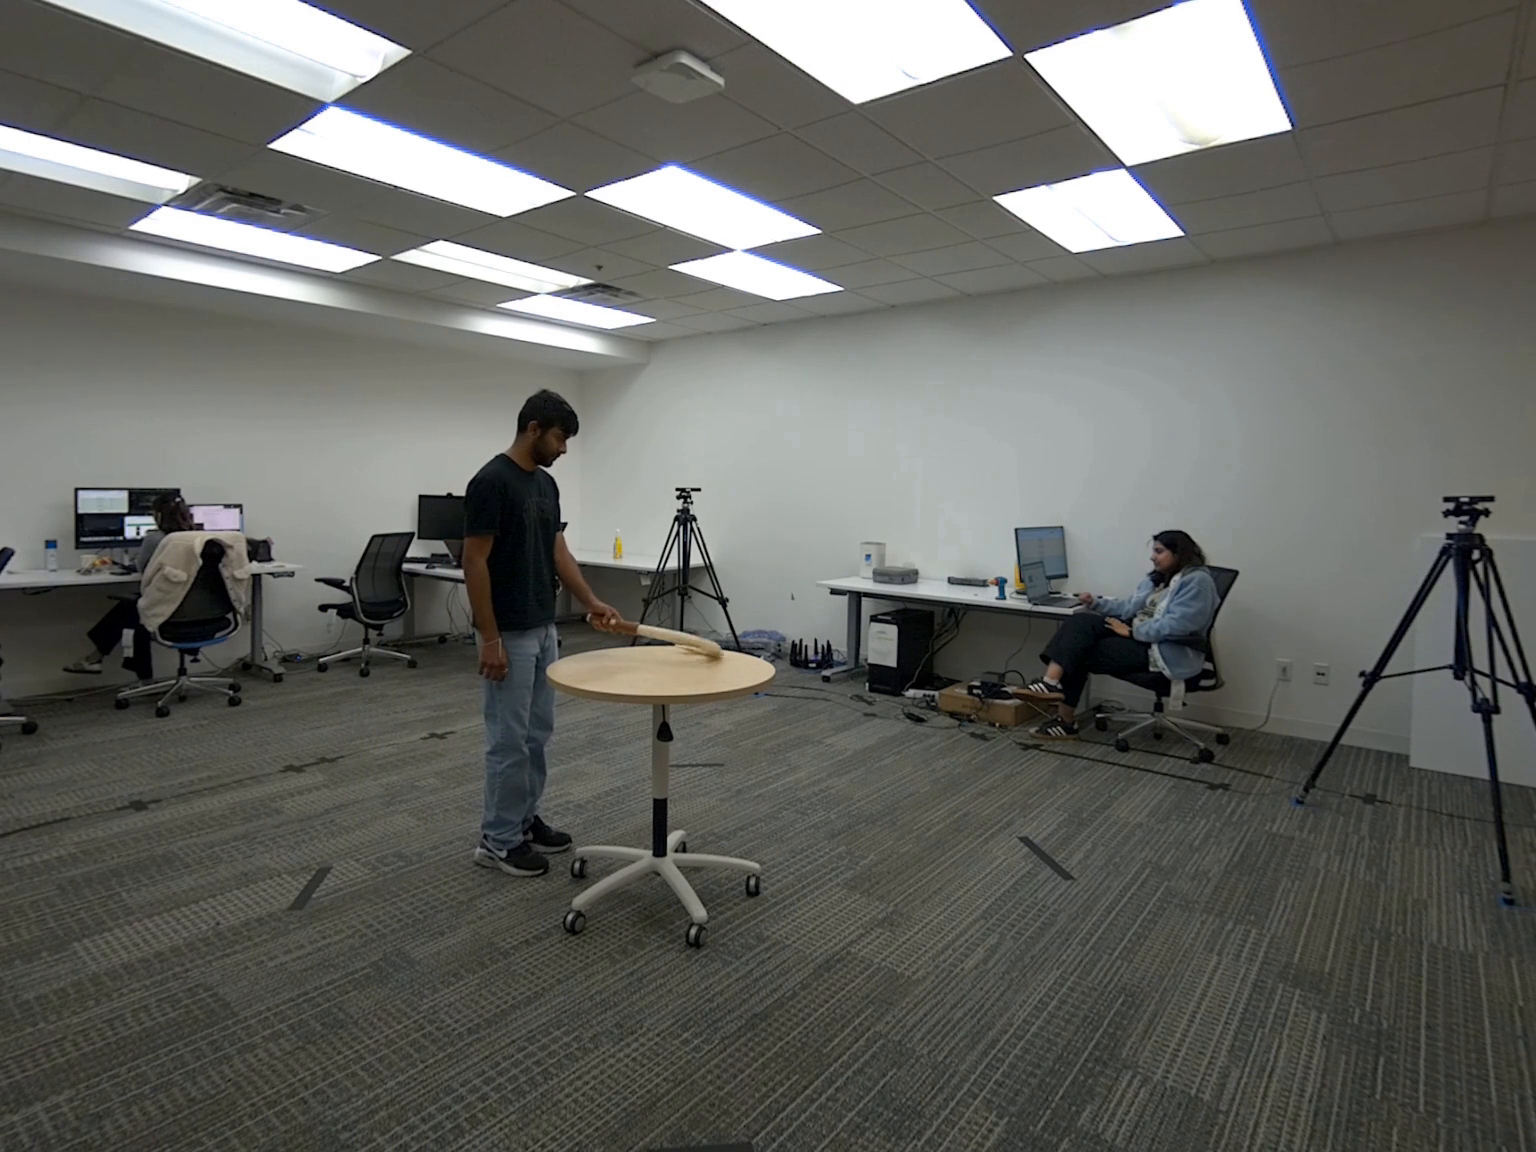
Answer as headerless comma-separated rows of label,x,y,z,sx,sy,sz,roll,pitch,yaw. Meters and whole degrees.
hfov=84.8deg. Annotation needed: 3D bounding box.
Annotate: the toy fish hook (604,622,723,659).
toy fish hook,-0.427,0.210,3.069,0.514,0.049,0.219,12,-21,11
